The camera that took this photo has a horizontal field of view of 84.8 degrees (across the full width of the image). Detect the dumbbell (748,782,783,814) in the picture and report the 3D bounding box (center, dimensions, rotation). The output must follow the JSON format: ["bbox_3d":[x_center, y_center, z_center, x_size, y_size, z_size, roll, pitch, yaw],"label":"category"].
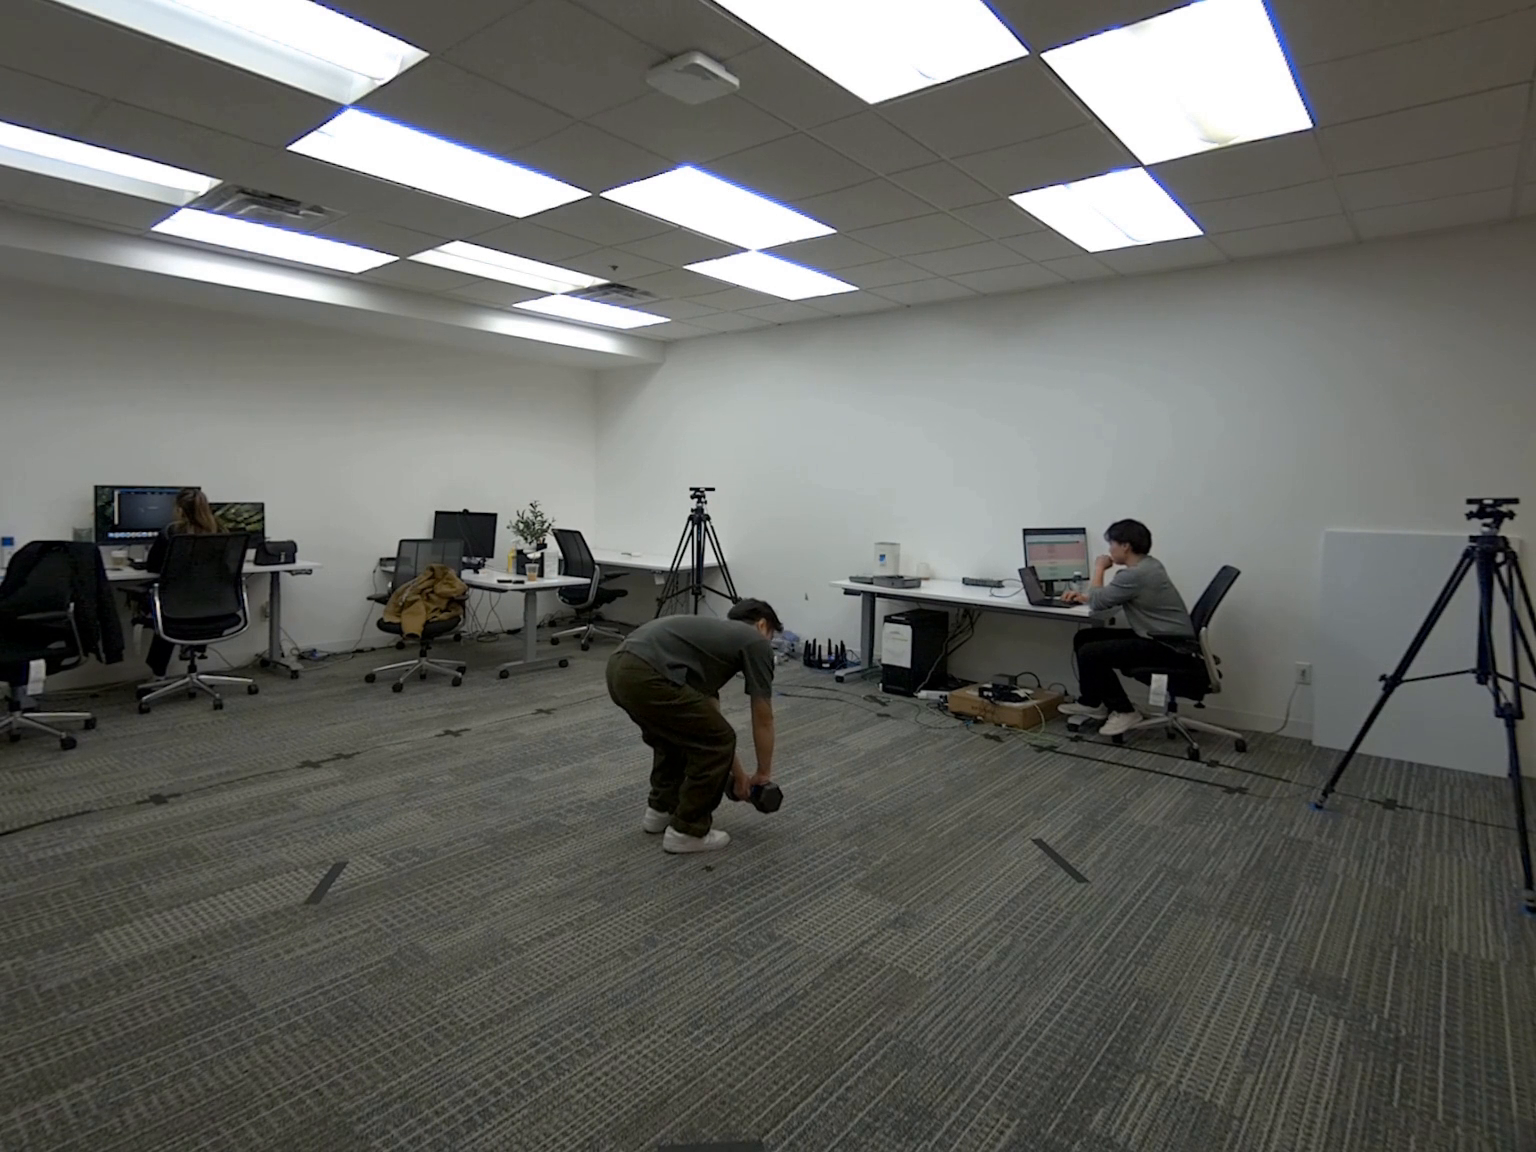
[{"bbox_3d":[-0.075,0.871,3.449,0.105,0.124,0.302,33,-19,-30],"label":"dumbbell"}]
